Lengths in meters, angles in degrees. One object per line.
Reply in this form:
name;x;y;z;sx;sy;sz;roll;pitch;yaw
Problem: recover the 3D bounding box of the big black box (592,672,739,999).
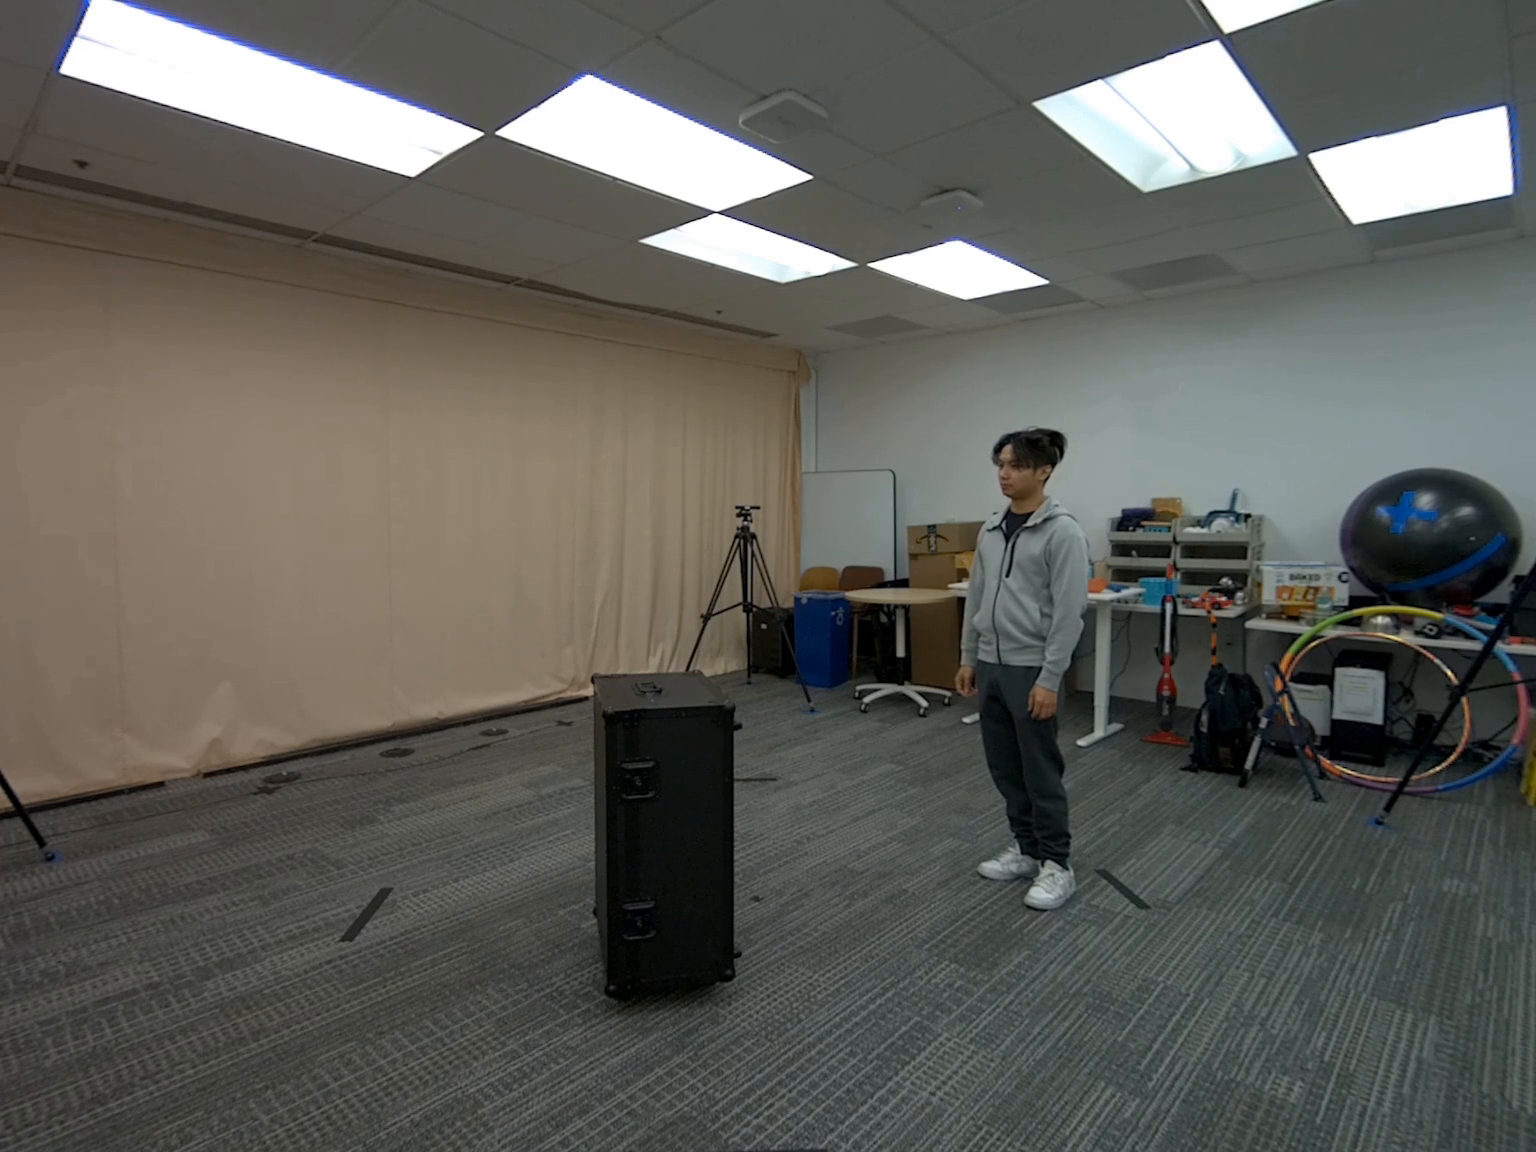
big black box;-0.317;0.700;2.512;0.390;0.860;0.530;-1;3;-15
